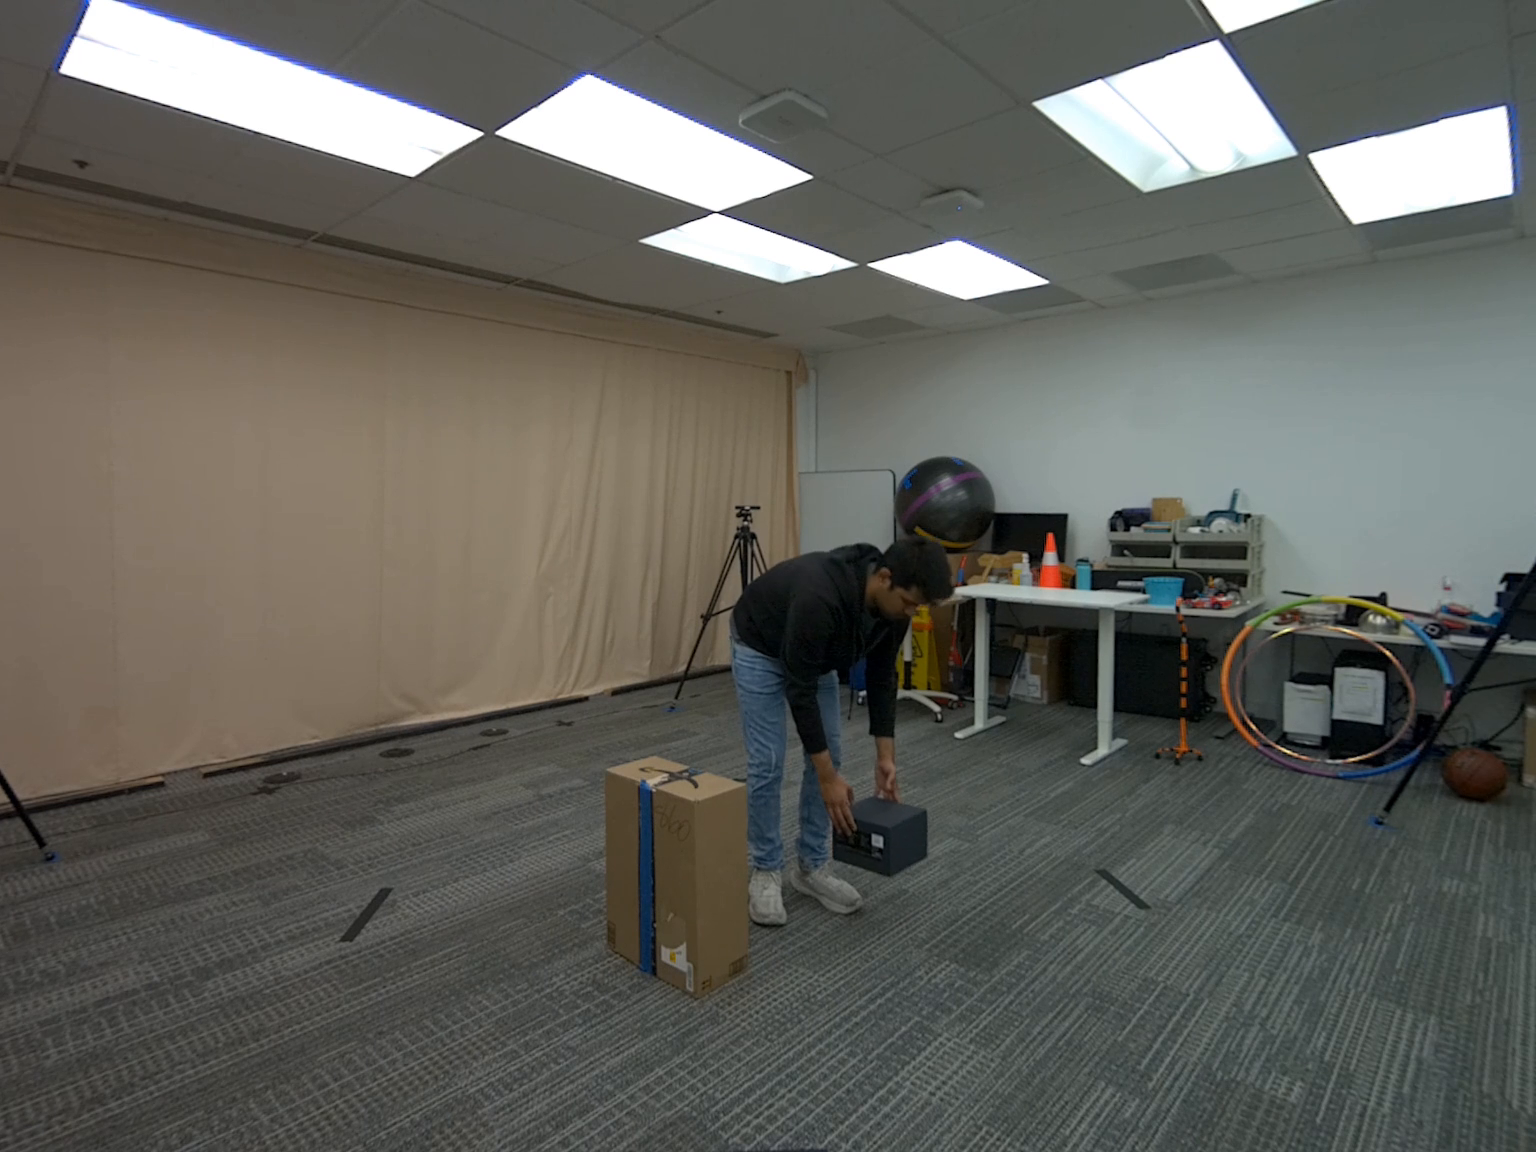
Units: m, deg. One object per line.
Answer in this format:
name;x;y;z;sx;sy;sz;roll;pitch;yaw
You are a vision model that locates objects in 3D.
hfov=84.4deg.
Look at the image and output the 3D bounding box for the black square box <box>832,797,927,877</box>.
black square box;0.366;0.832;2.698;0.224;0.156;0.221;1;3;41
